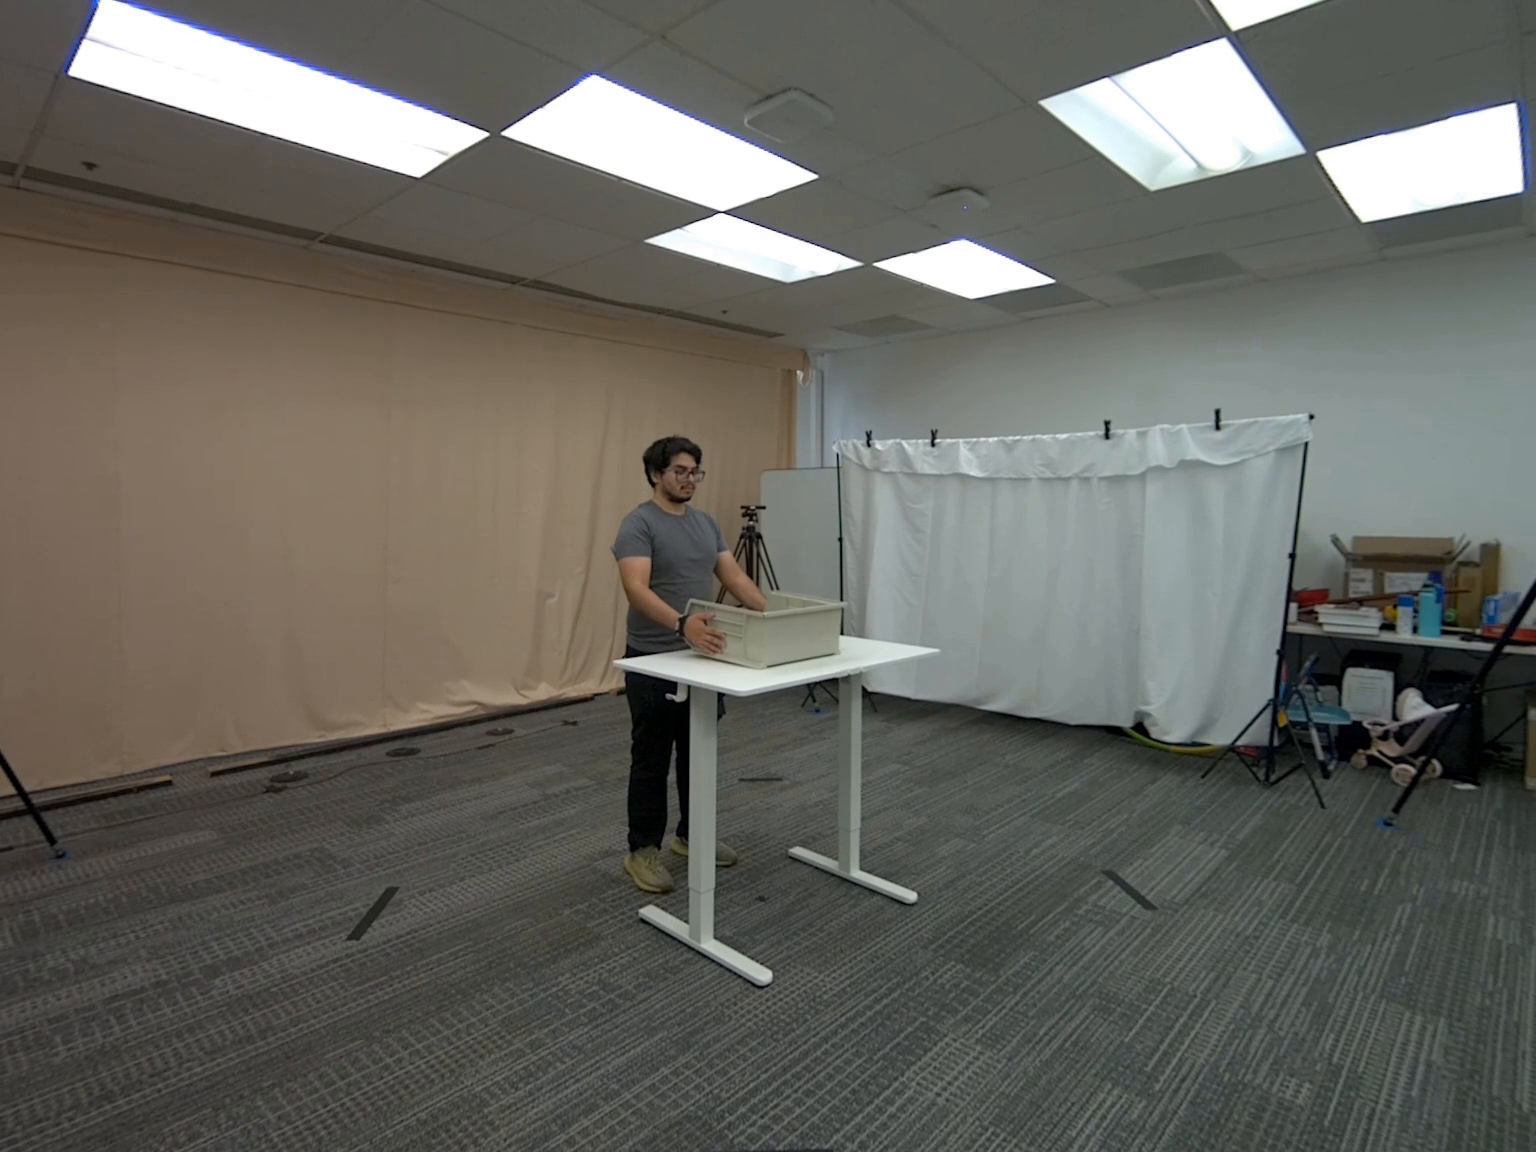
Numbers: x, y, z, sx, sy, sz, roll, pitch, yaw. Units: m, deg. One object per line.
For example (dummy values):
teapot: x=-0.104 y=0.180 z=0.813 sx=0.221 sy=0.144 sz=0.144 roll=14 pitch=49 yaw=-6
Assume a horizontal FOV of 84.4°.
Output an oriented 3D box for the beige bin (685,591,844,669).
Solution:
beige bin: x=-0.004 y=0.177 z=2.850 sx=0.391 sy=0.188 sz=0.409 roll=10 pitch=10 yaw=43
